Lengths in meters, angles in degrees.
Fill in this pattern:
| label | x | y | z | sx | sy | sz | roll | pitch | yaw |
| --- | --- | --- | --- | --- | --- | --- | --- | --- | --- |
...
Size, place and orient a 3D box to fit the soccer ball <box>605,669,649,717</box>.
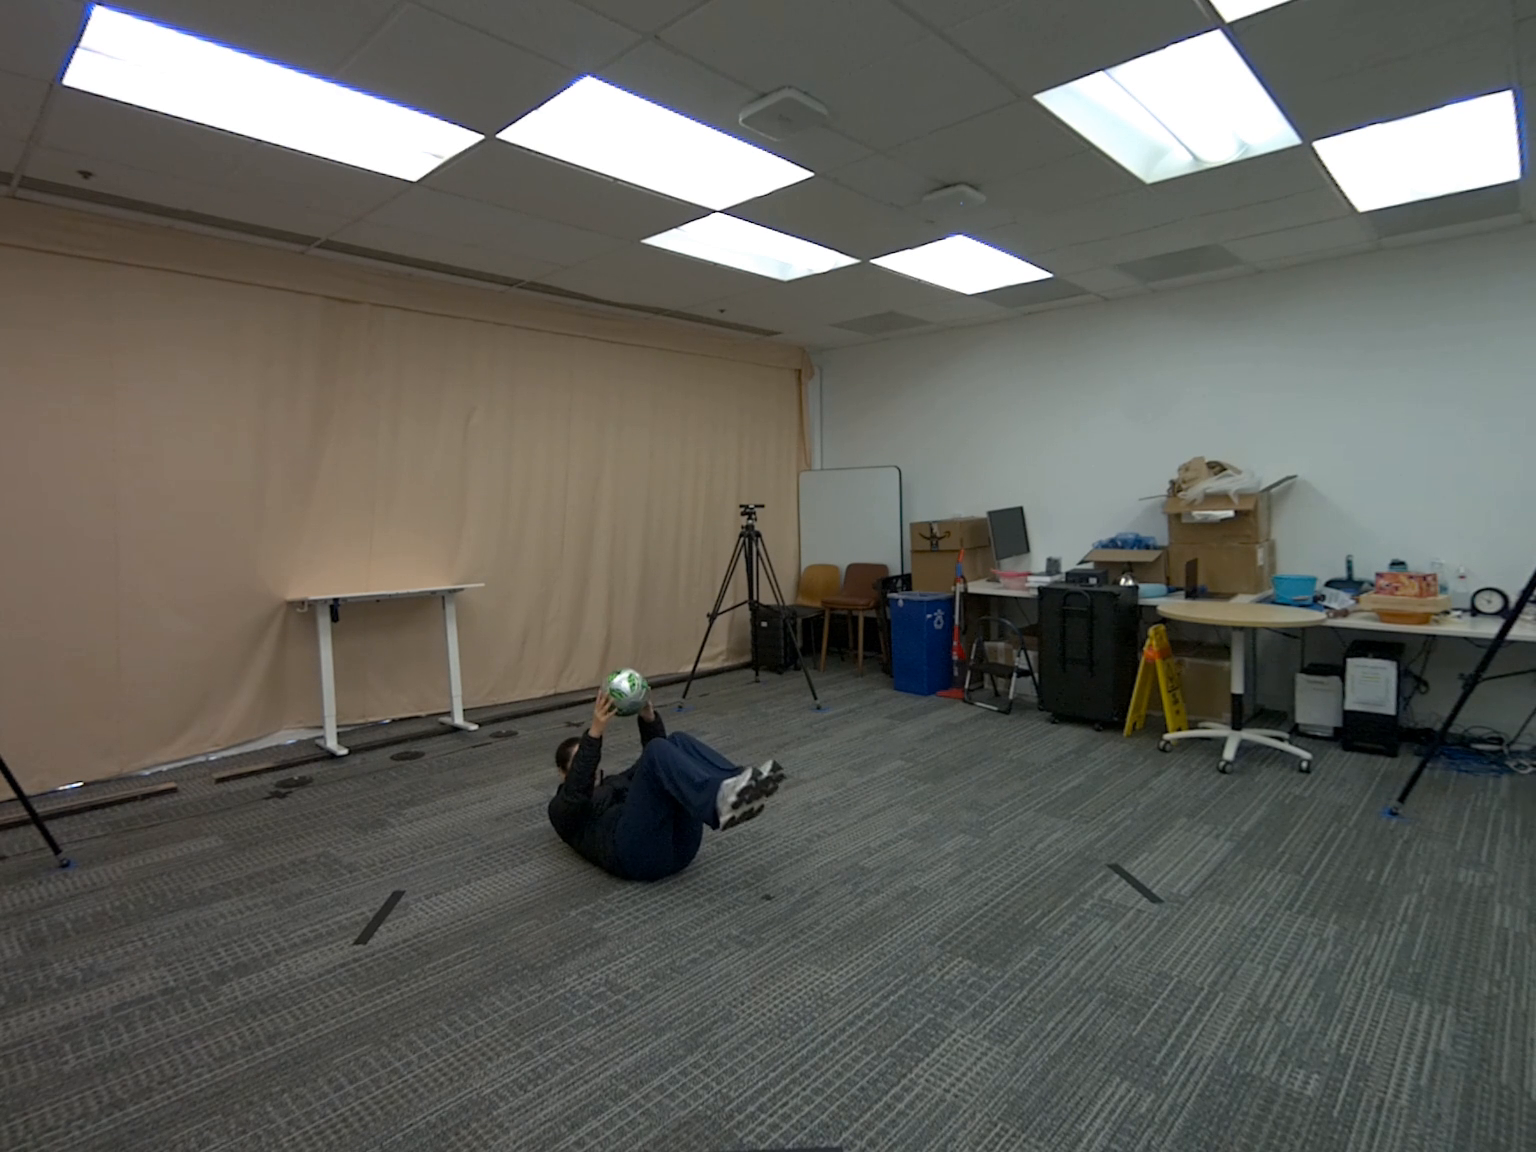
| label | x | y | z | sx | sy | sz | roll | pitch | yaw |
| --- | --- | --- | --- | --- | --- | --- | --- | --- | --- |
| soccer ball | -0.526 | 0.455 | 3.178 | 0.187 | 0.187 | 0.188 | 2 | 5 | -2 |
